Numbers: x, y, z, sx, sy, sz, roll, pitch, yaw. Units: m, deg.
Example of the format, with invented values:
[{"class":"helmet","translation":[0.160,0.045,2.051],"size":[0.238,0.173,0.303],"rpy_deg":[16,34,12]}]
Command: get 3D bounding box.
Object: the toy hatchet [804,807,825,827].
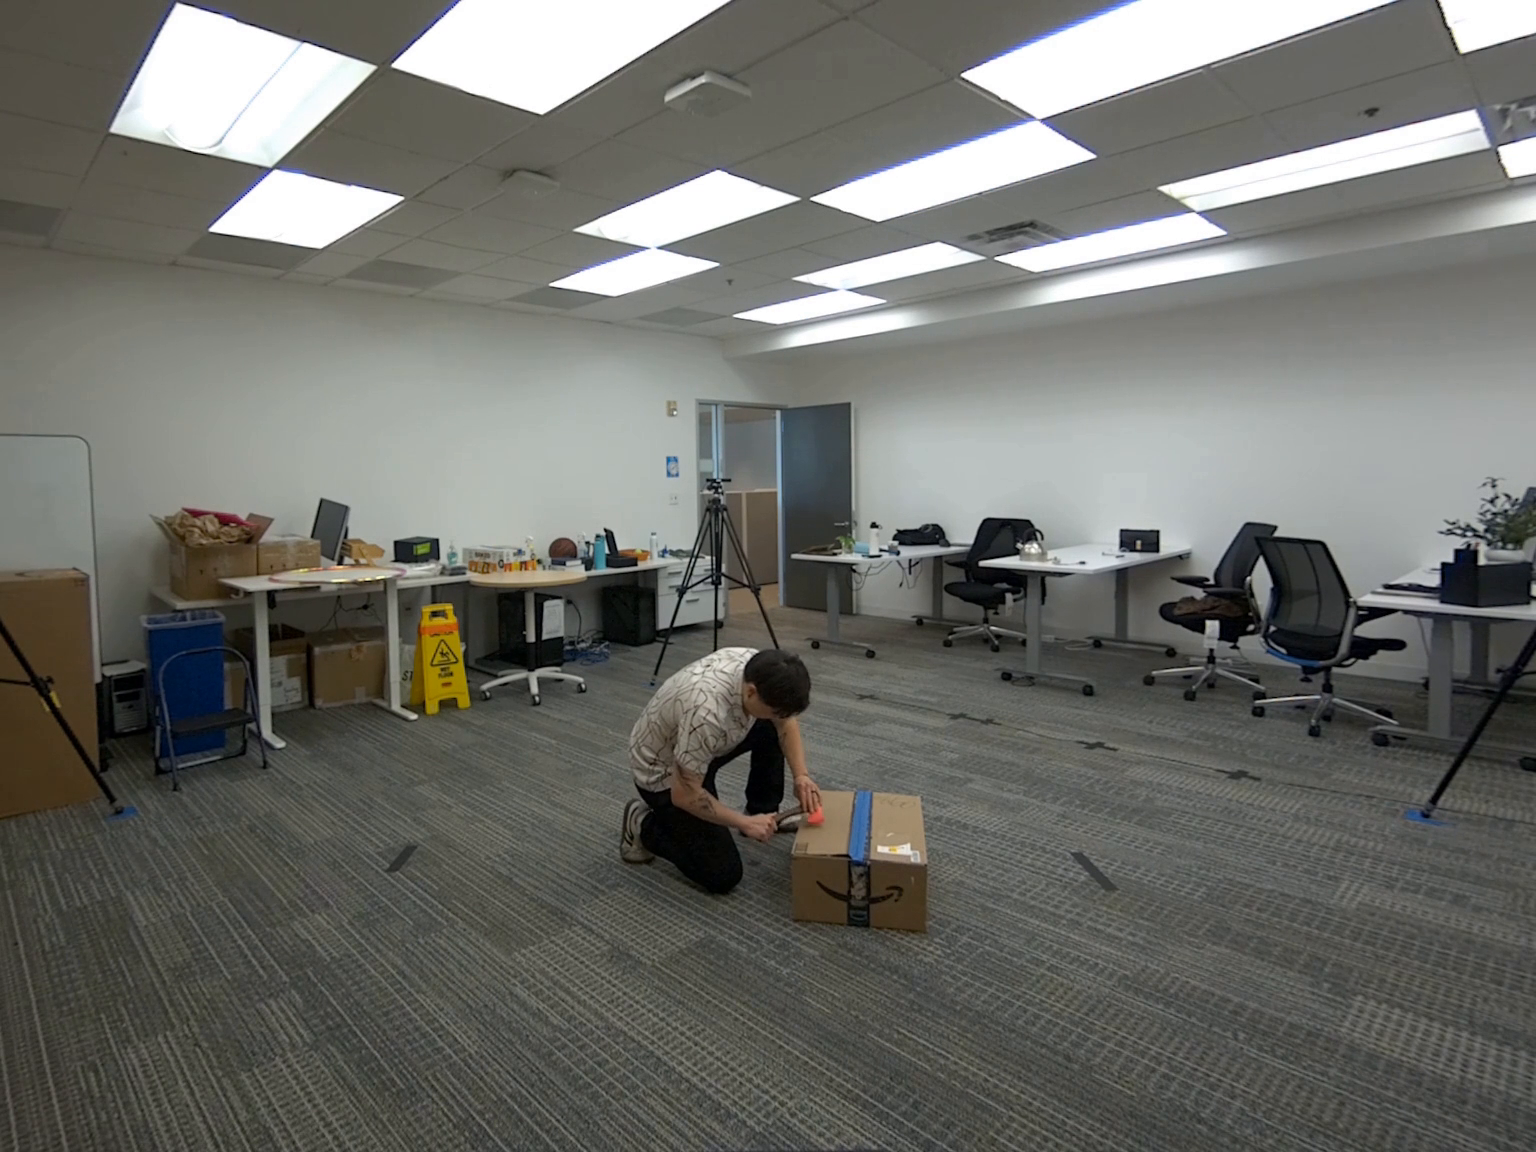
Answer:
[{"class":"toy hatchet","translation":[0.066,0.830,2.858],"size":[0.264,0.029,0.136],"rpy_deg":[-13,34,-33]}]
